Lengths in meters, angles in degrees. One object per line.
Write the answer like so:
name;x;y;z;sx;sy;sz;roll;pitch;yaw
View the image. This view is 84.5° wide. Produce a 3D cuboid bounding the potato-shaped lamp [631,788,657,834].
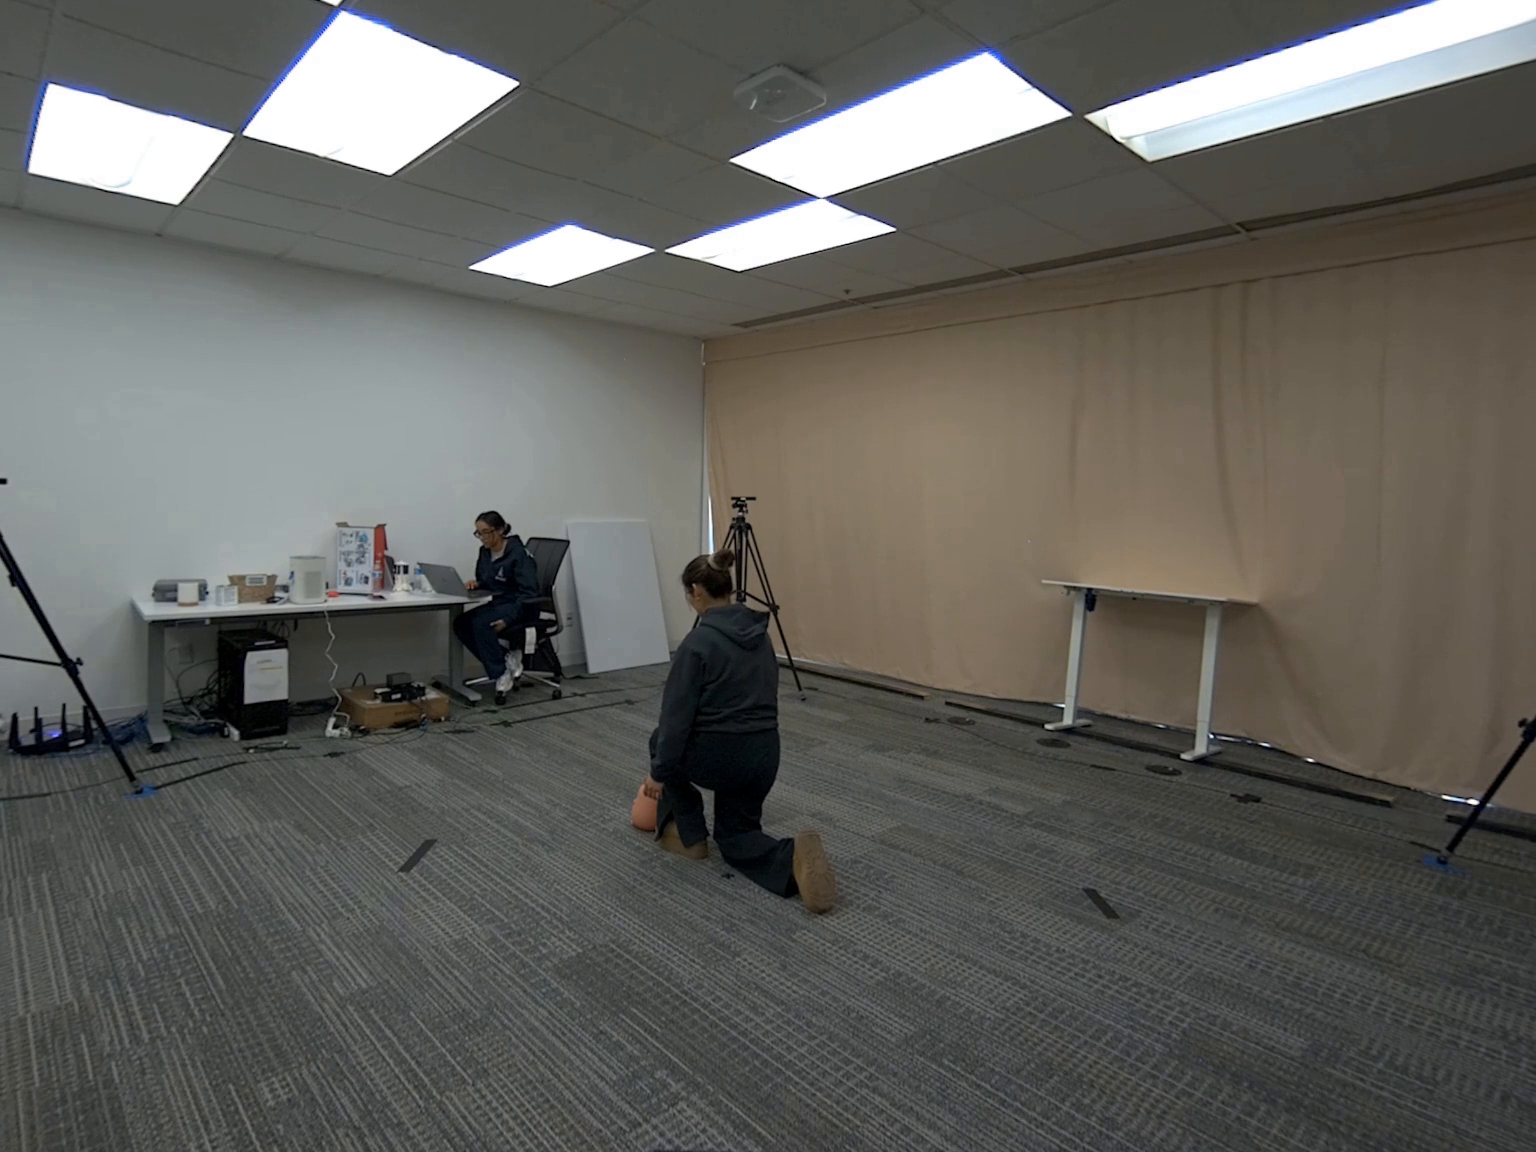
potato-shaped lamp;-0.496;0.956;3.555;0.176;0.197;0.161;9;8;37
